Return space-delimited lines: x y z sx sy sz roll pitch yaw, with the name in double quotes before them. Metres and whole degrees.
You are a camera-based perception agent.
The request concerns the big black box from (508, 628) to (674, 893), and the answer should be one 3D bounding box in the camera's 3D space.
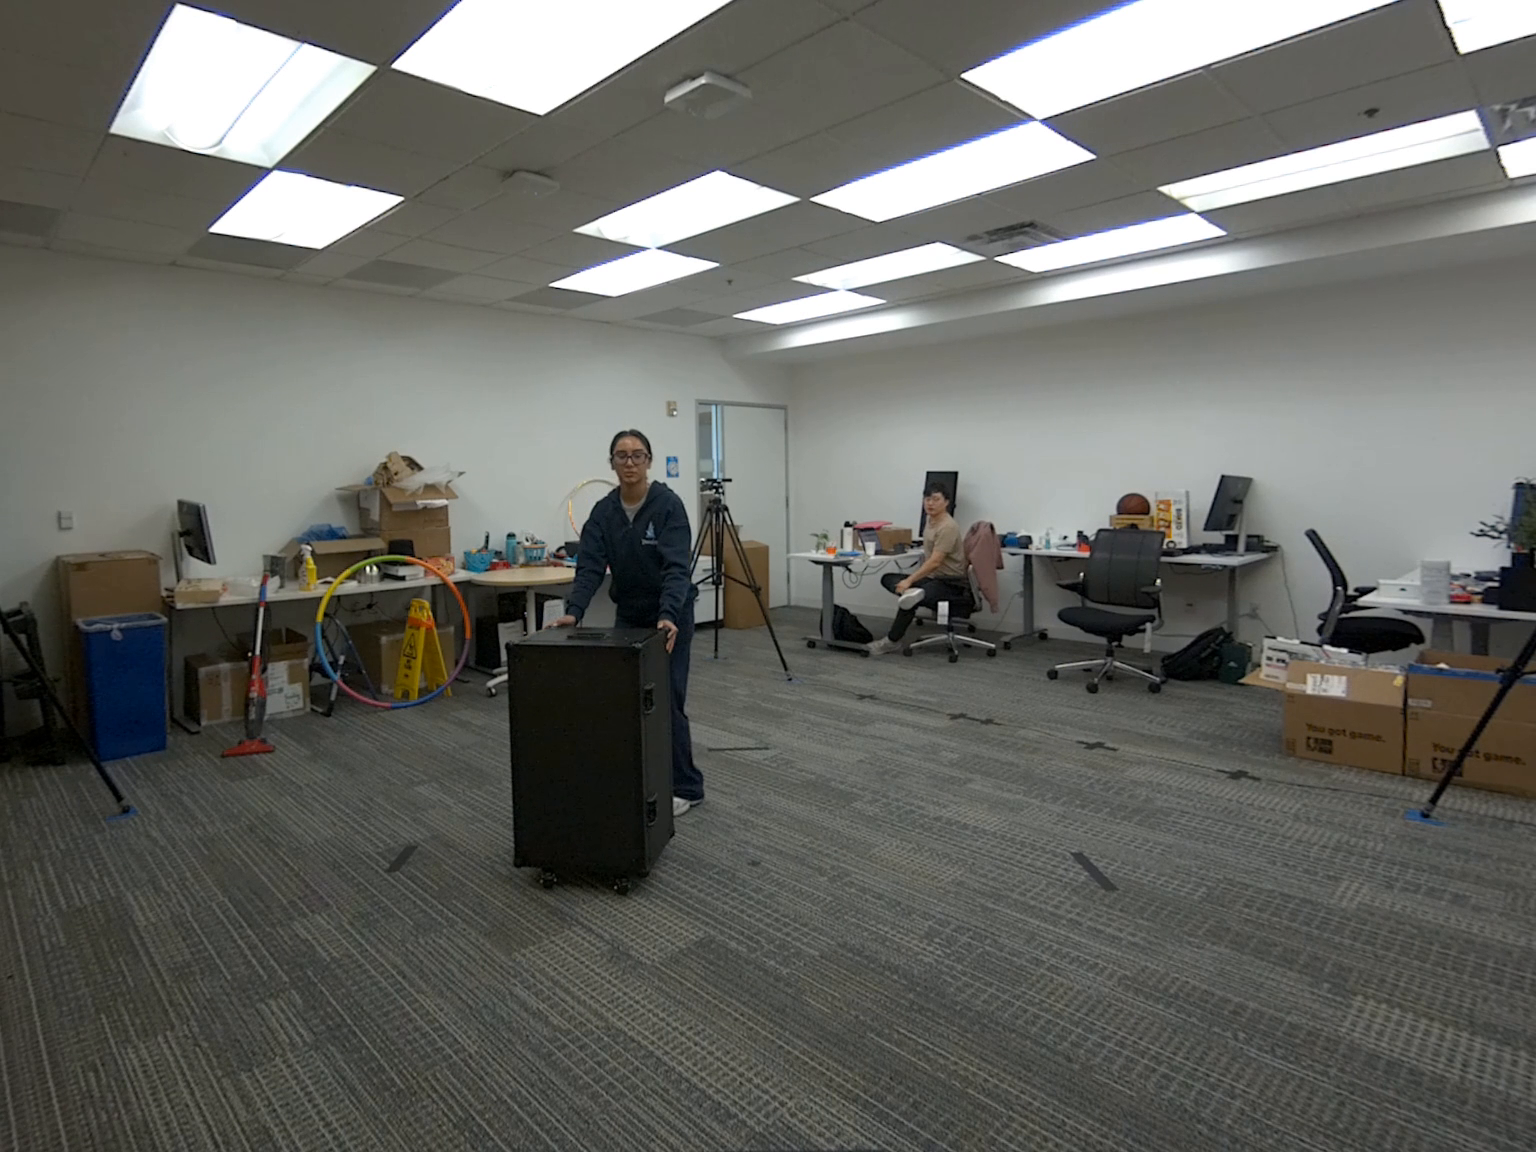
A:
"big black box" -0.627 0.636 3.072 0.528 0.860 0.392 0 2 12
